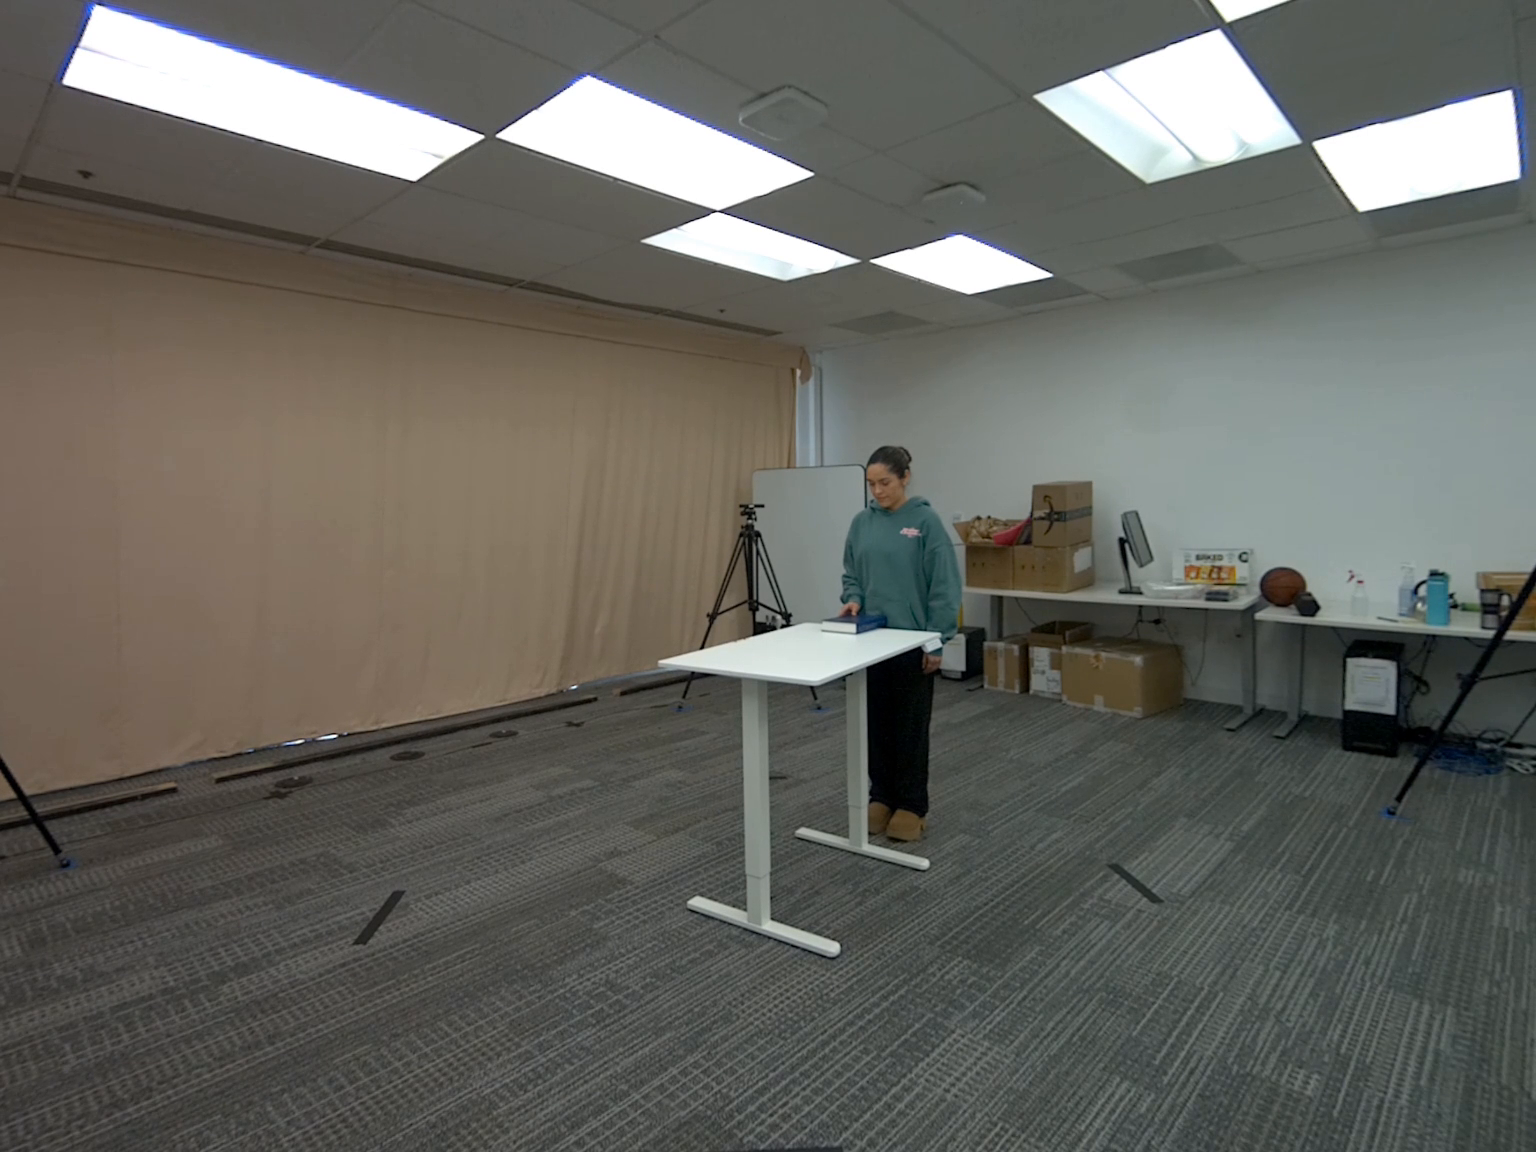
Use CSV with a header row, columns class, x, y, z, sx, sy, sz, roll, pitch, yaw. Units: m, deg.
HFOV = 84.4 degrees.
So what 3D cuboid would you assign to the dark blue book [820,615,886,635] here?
class,x,y,z,sx,sy,sz,roll,pitch,yaw
dark blue book,0.362,0.194,3.394,0.169,0.045,0.238,3,6,38
